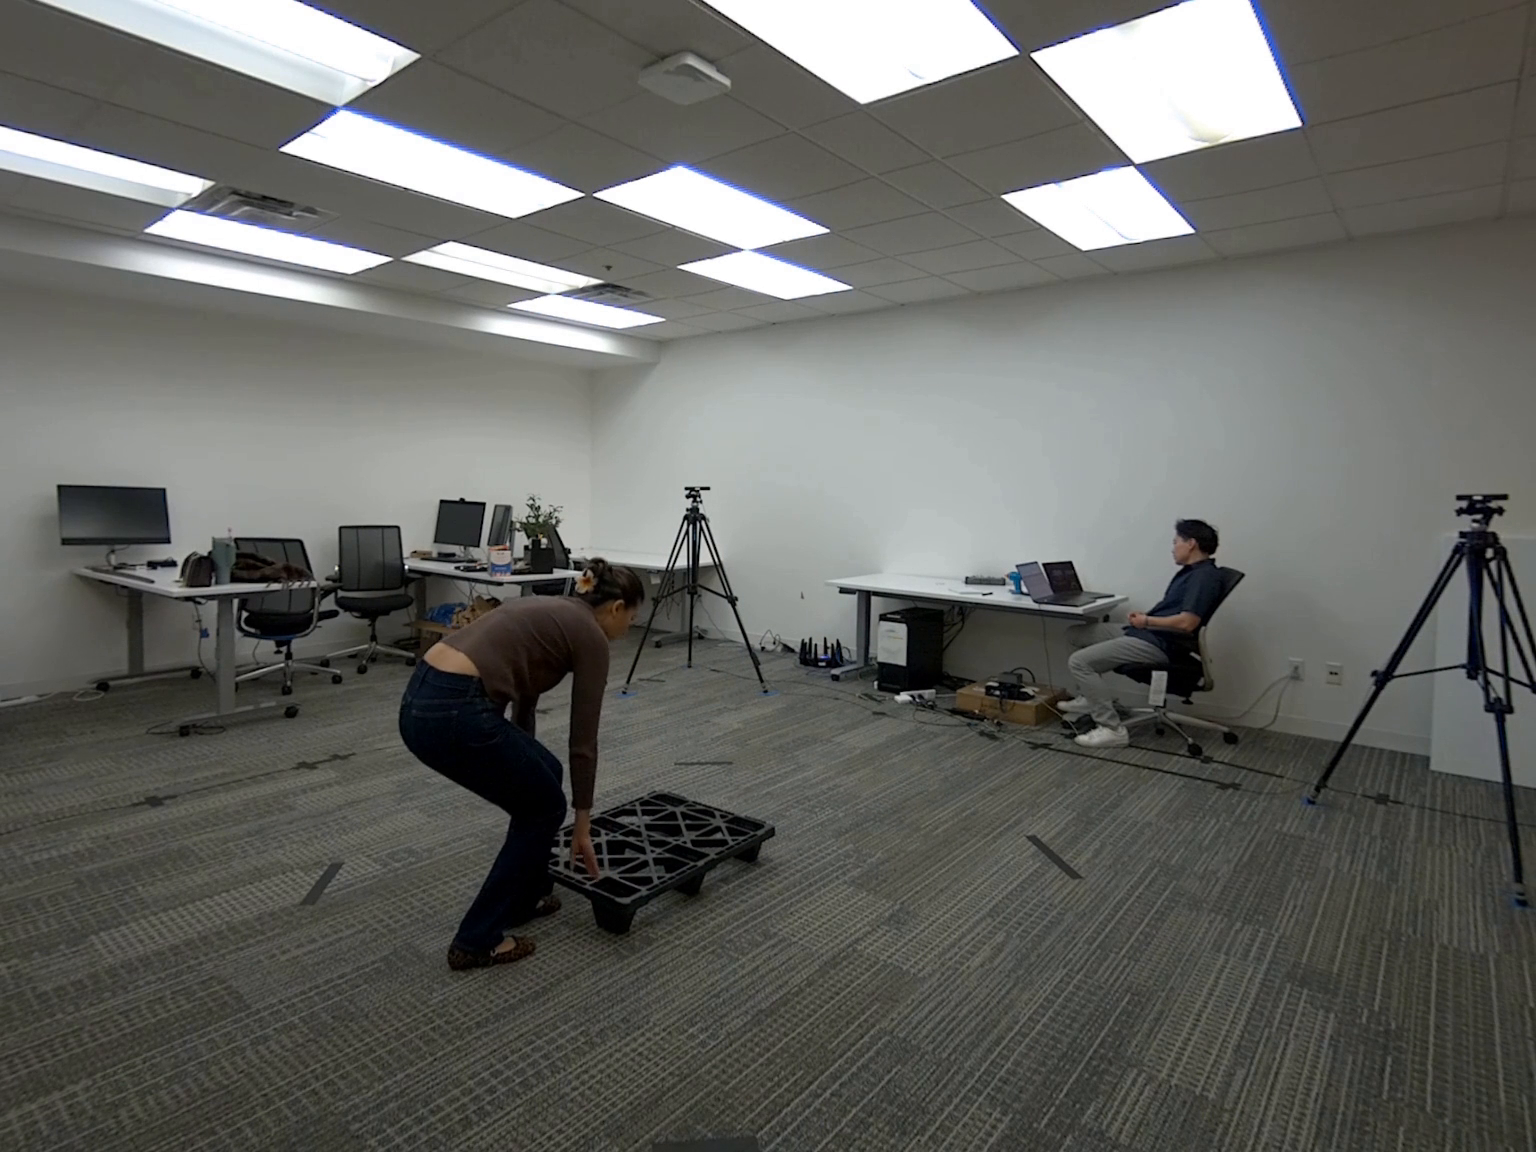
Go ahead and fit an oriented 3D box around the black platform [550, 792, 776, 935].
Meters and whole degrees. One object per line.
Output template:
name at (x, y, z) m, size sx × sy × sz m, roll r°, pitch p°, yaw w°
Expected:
black platform at (-0.452, 1.000, 3.051) m, size 0.625 × 0.143 × 0.782 m, roll 4°, pitch 6°, yaw 37°
